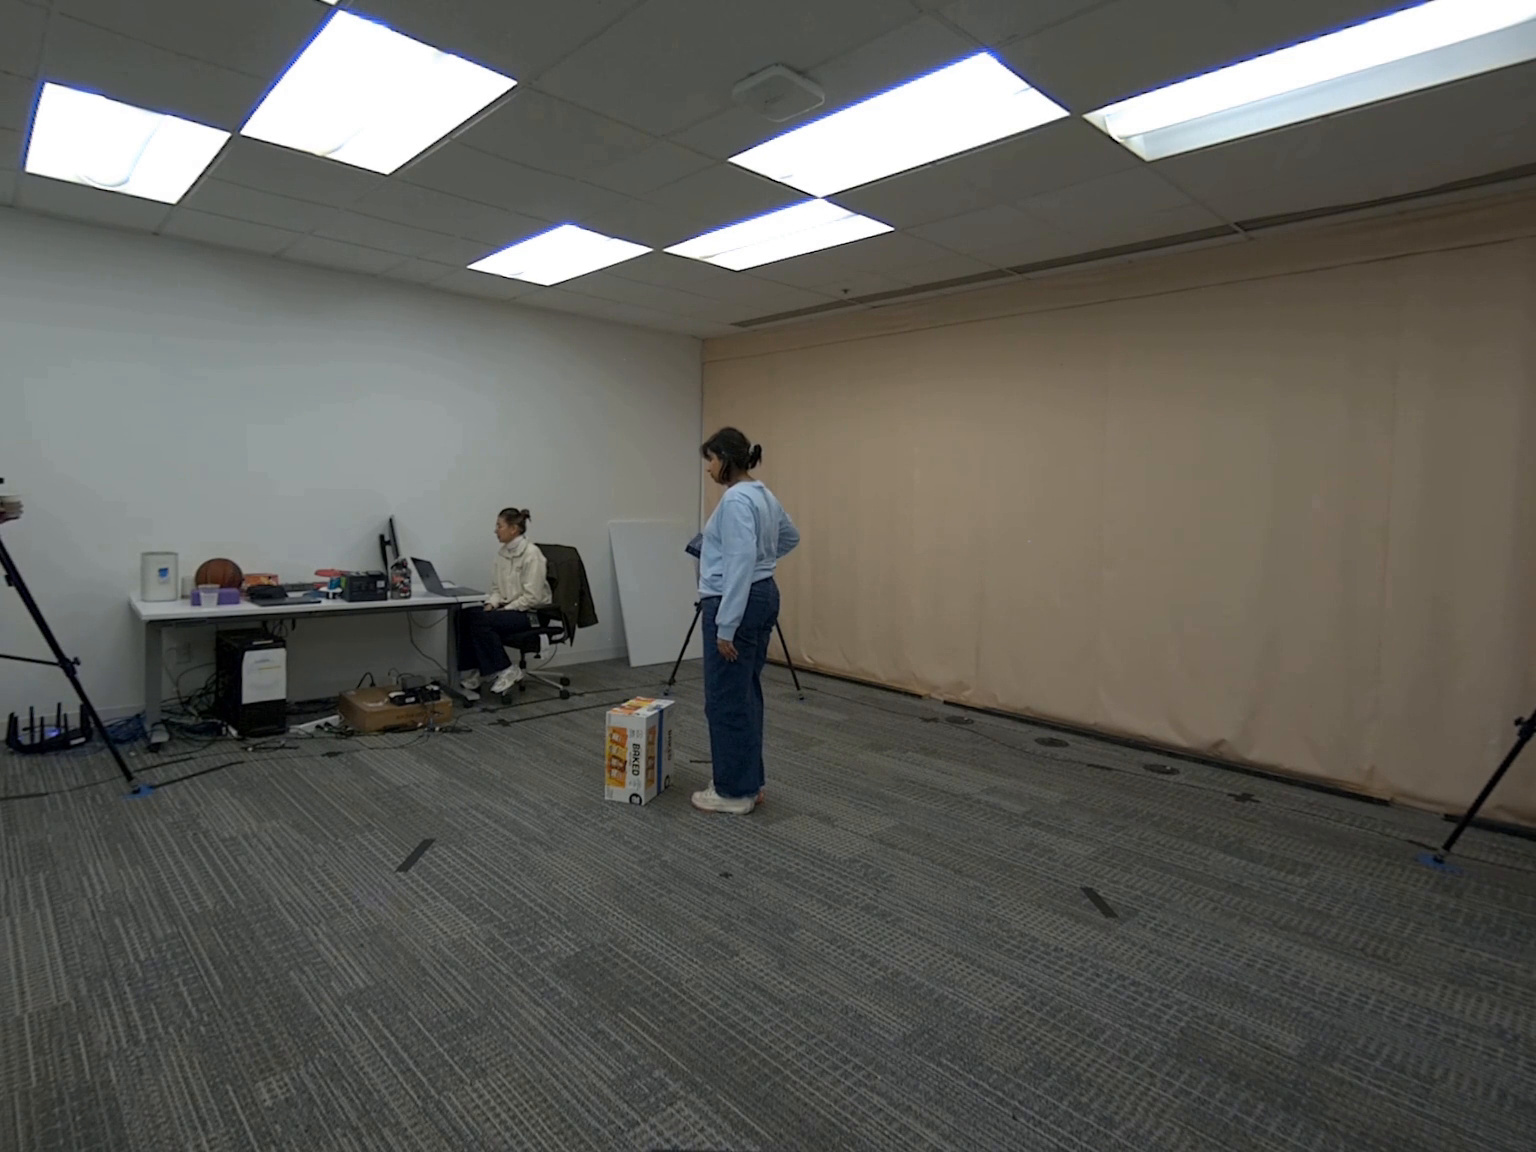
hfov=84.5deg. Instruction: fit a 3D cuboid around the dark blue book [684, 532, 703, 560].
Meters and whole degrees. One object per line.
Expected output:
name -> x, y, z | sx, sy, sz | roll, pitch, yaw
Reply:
dark blue book -> -0.261, -0.110, 4.083 | 0.247, 0.045, 0.164 | 26, 29, 6
